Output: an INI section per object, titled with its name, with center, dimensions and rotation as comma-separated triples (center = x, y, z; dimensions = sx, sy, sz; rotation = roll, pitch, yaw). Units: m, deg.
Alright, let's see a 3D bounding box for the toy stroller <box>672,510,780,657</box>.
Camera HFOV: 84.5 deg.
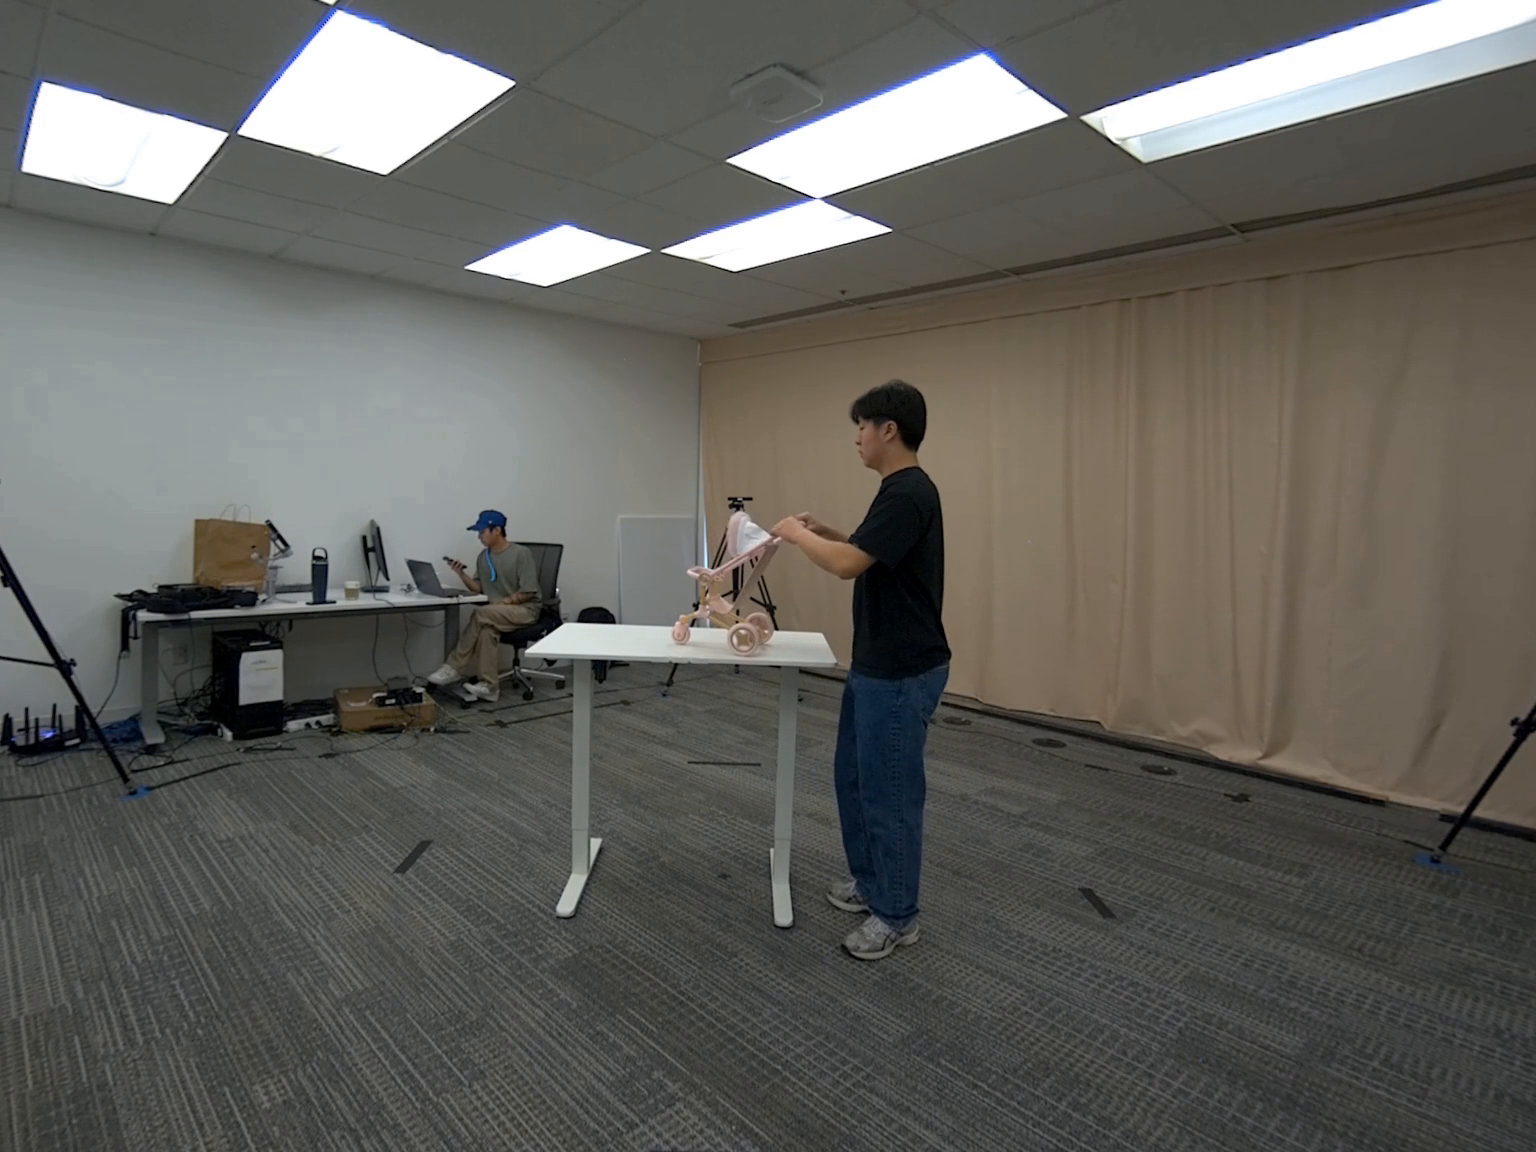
[toy stroller]
center = -0.122, 0.023, 2.860
dimensions = 0.347, 0.533, 0.278
rotation = 18, 8, 16
